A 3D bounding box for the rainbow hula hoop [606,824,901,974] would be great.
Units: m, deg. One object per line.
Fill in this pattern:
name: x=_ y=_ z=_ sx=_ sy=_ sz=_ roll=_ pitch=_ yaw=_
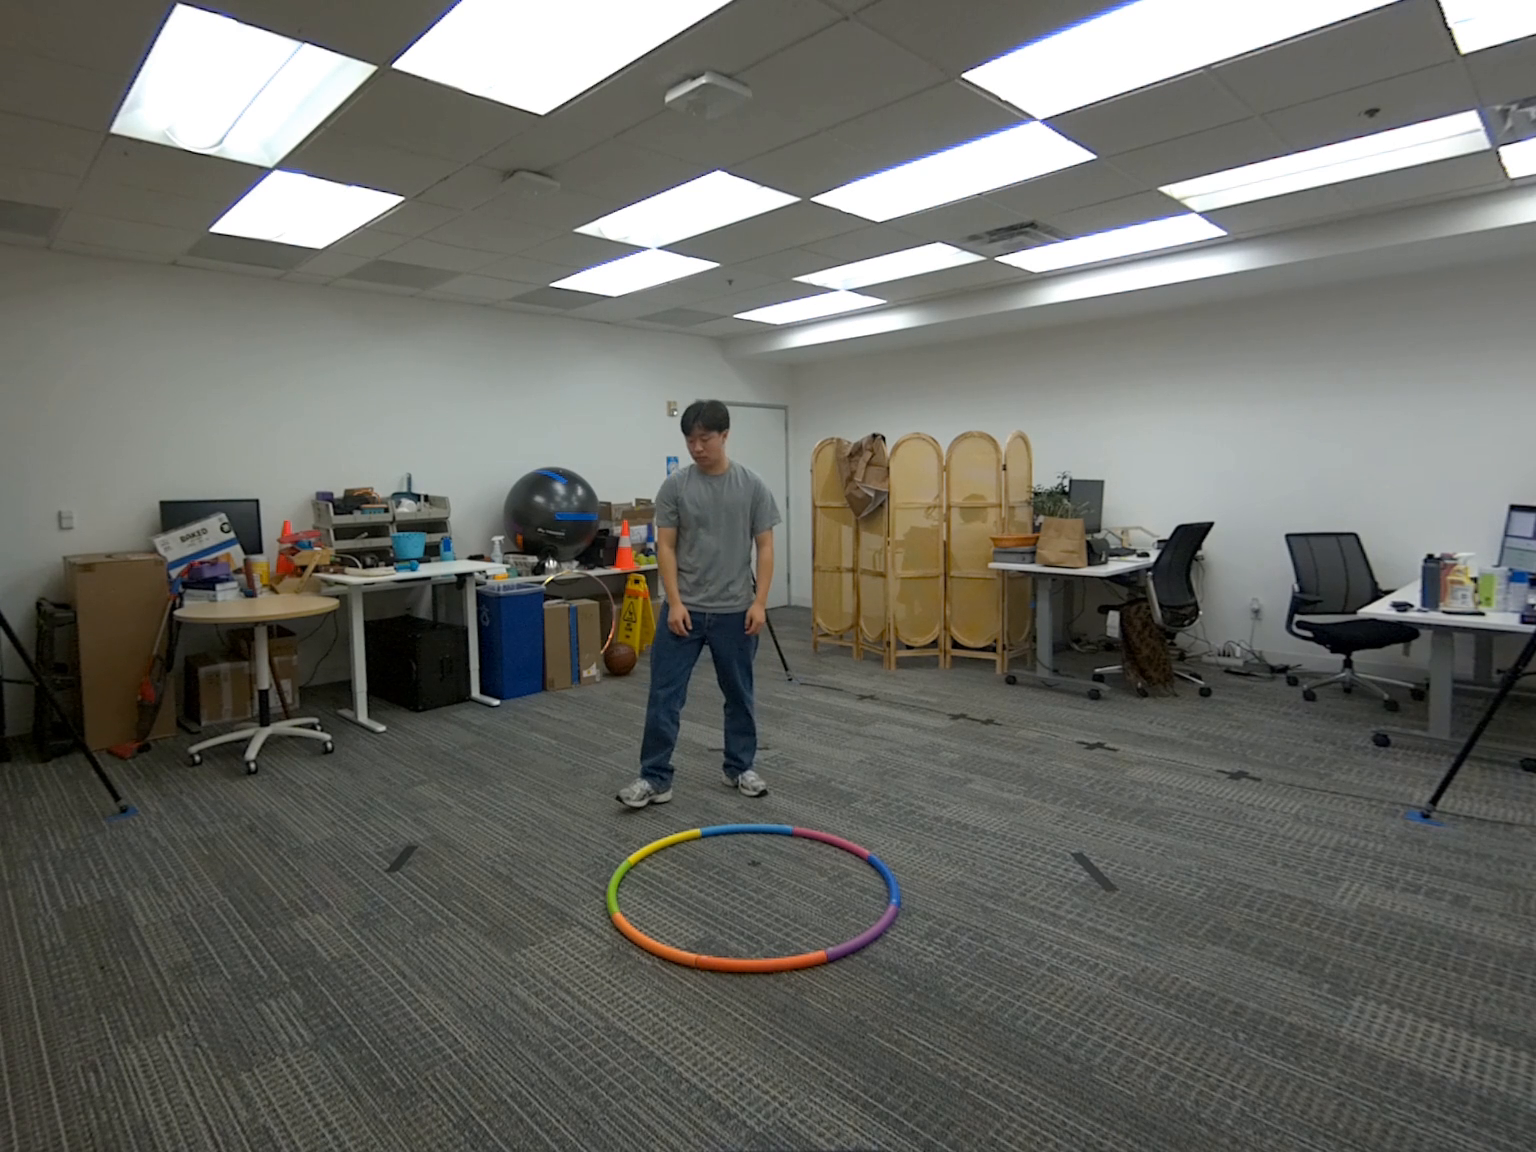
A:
rainbow hula hoop: x=-0.058 y=1.038 z=2.900 sx=0.978 sy=0.035 sz=0.984 roll=-1 pitch=6 yaw=-2
